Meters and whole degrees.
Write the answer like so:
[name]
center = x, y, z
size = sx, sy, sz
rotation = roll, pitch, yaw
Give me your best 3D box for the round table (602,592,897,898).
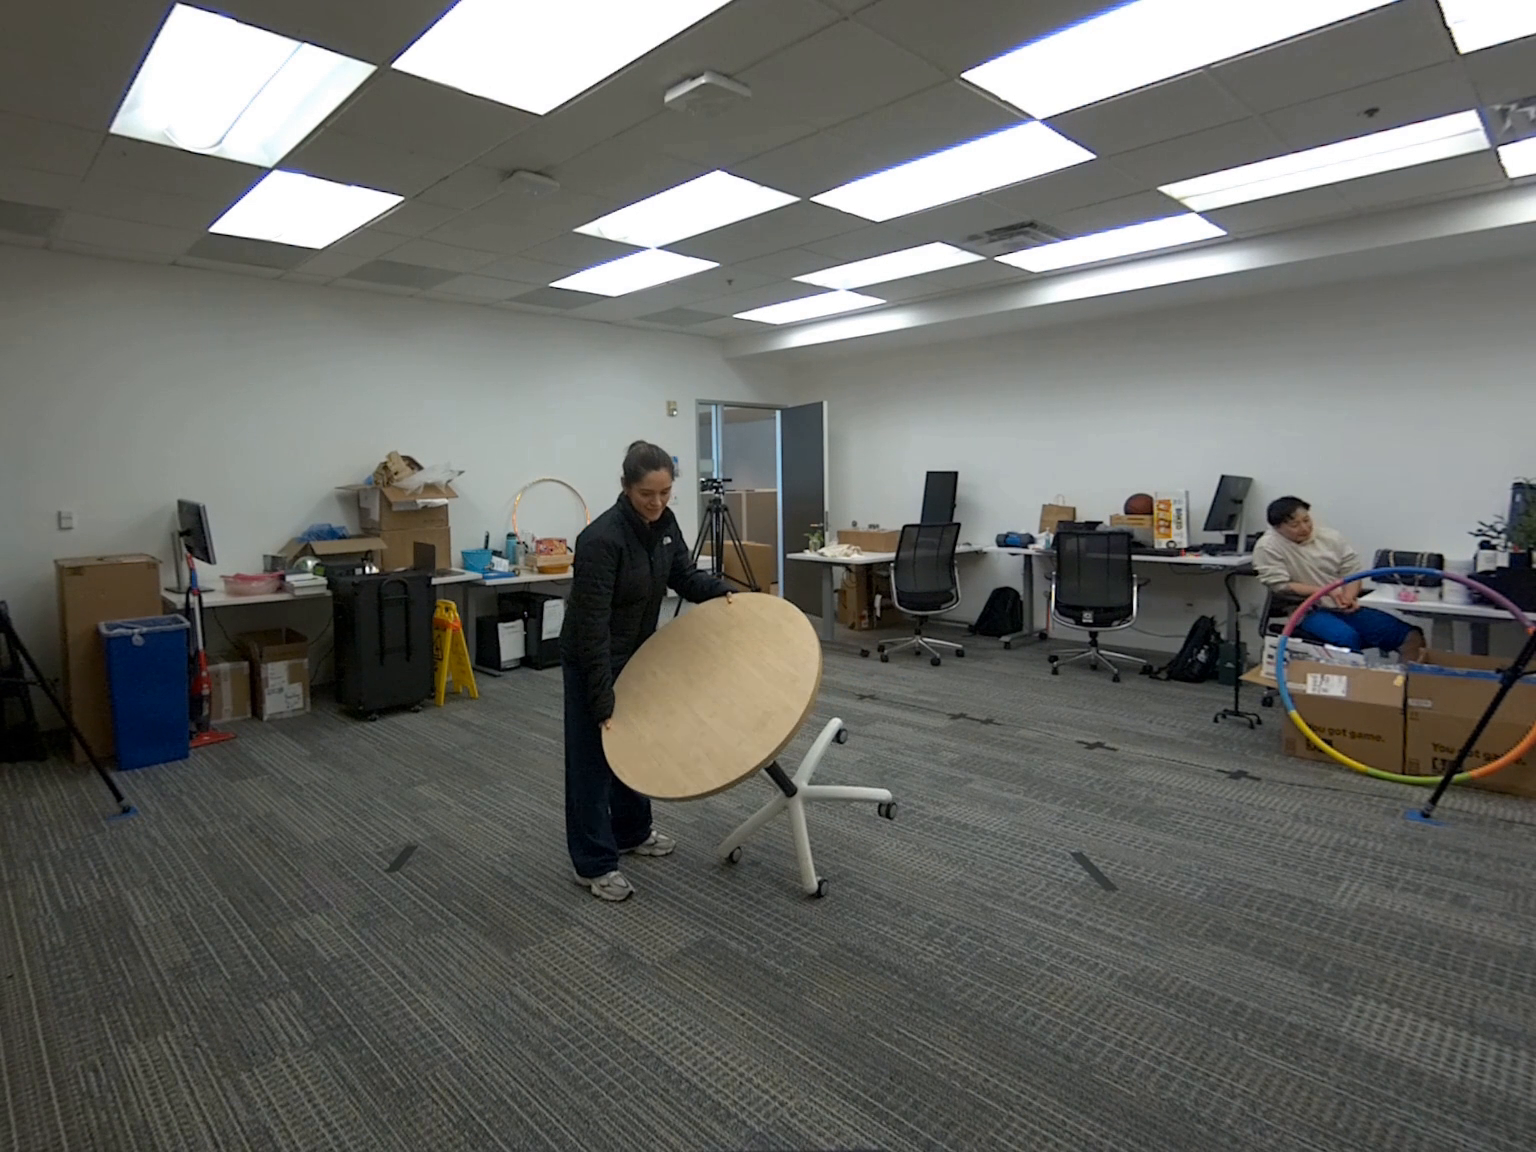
[round table]
center = -0.026, 0.589, 2.929
size = 0.792, 0.758, 0.807
rotation = -20, 40, 16
